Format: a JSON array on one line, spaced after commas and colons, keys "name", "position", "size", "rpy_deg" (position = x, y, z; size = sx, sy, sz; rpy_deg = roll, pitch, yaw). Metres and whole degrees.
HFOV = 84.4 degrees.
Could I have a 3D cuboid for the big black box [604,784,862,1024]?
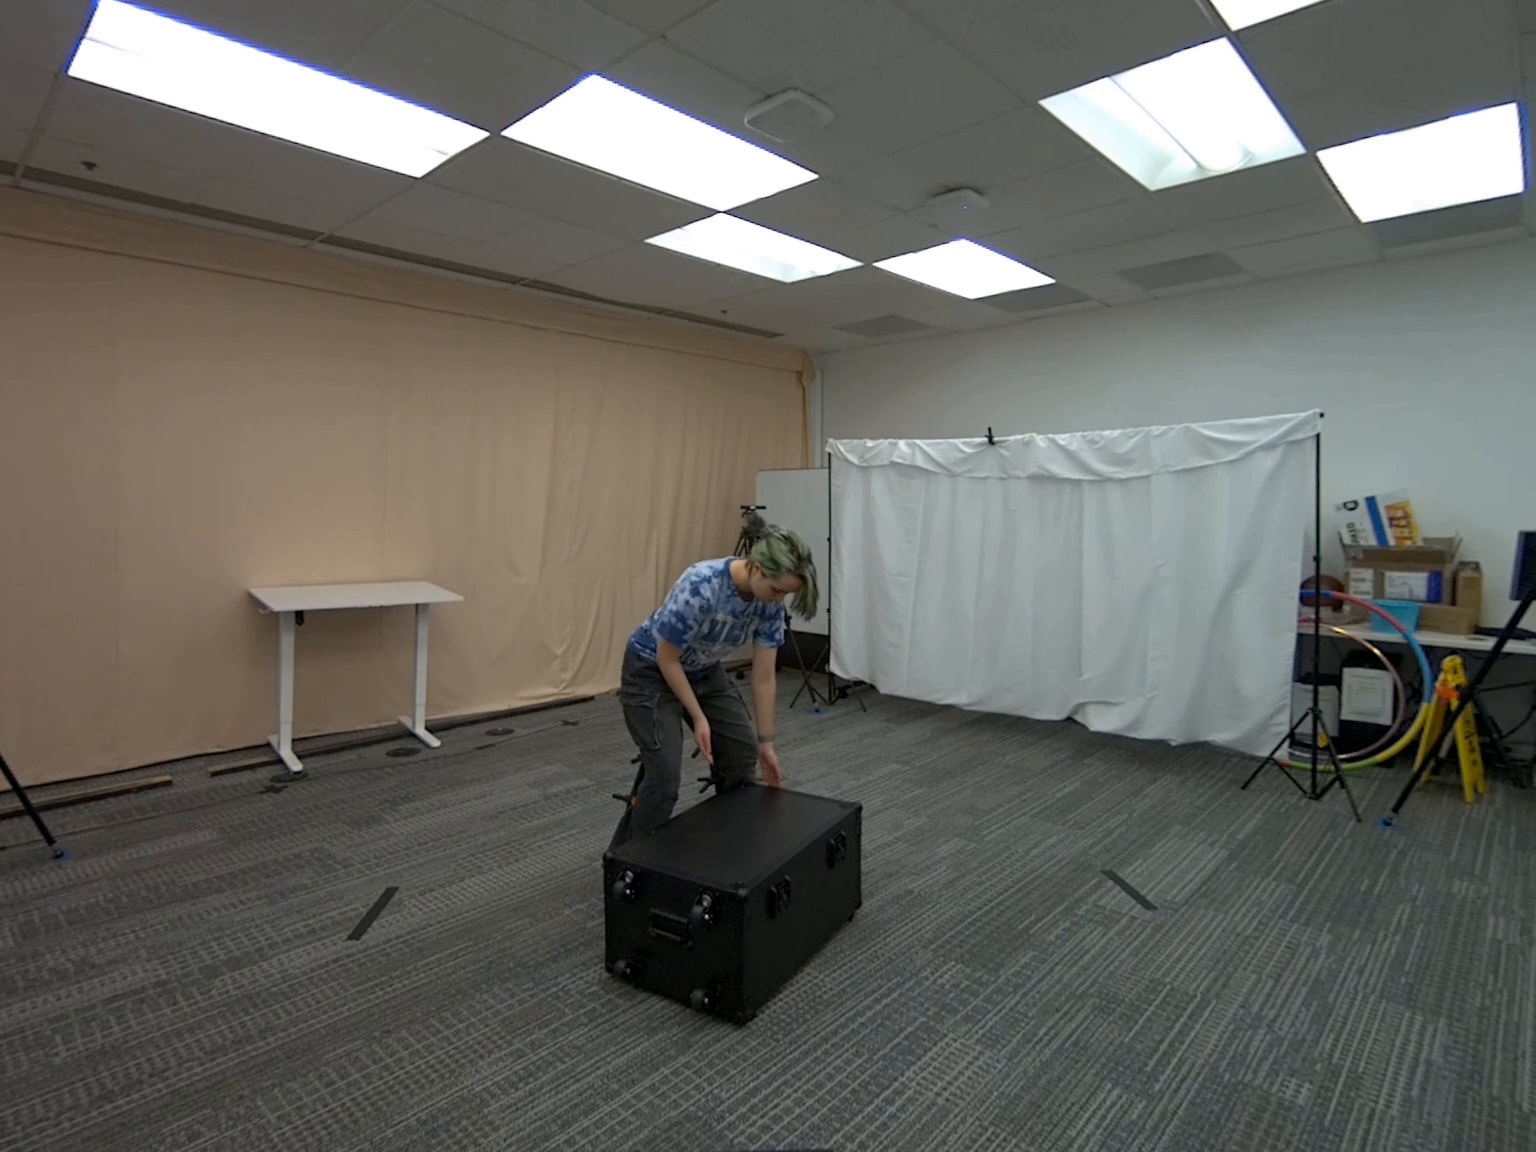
[{"name": "big black box", "position": [-0.094, 0.981, 2.638], "size": [0.537, 0.395, 0.838], "rpy_deg": [3, 5, 31]}]
